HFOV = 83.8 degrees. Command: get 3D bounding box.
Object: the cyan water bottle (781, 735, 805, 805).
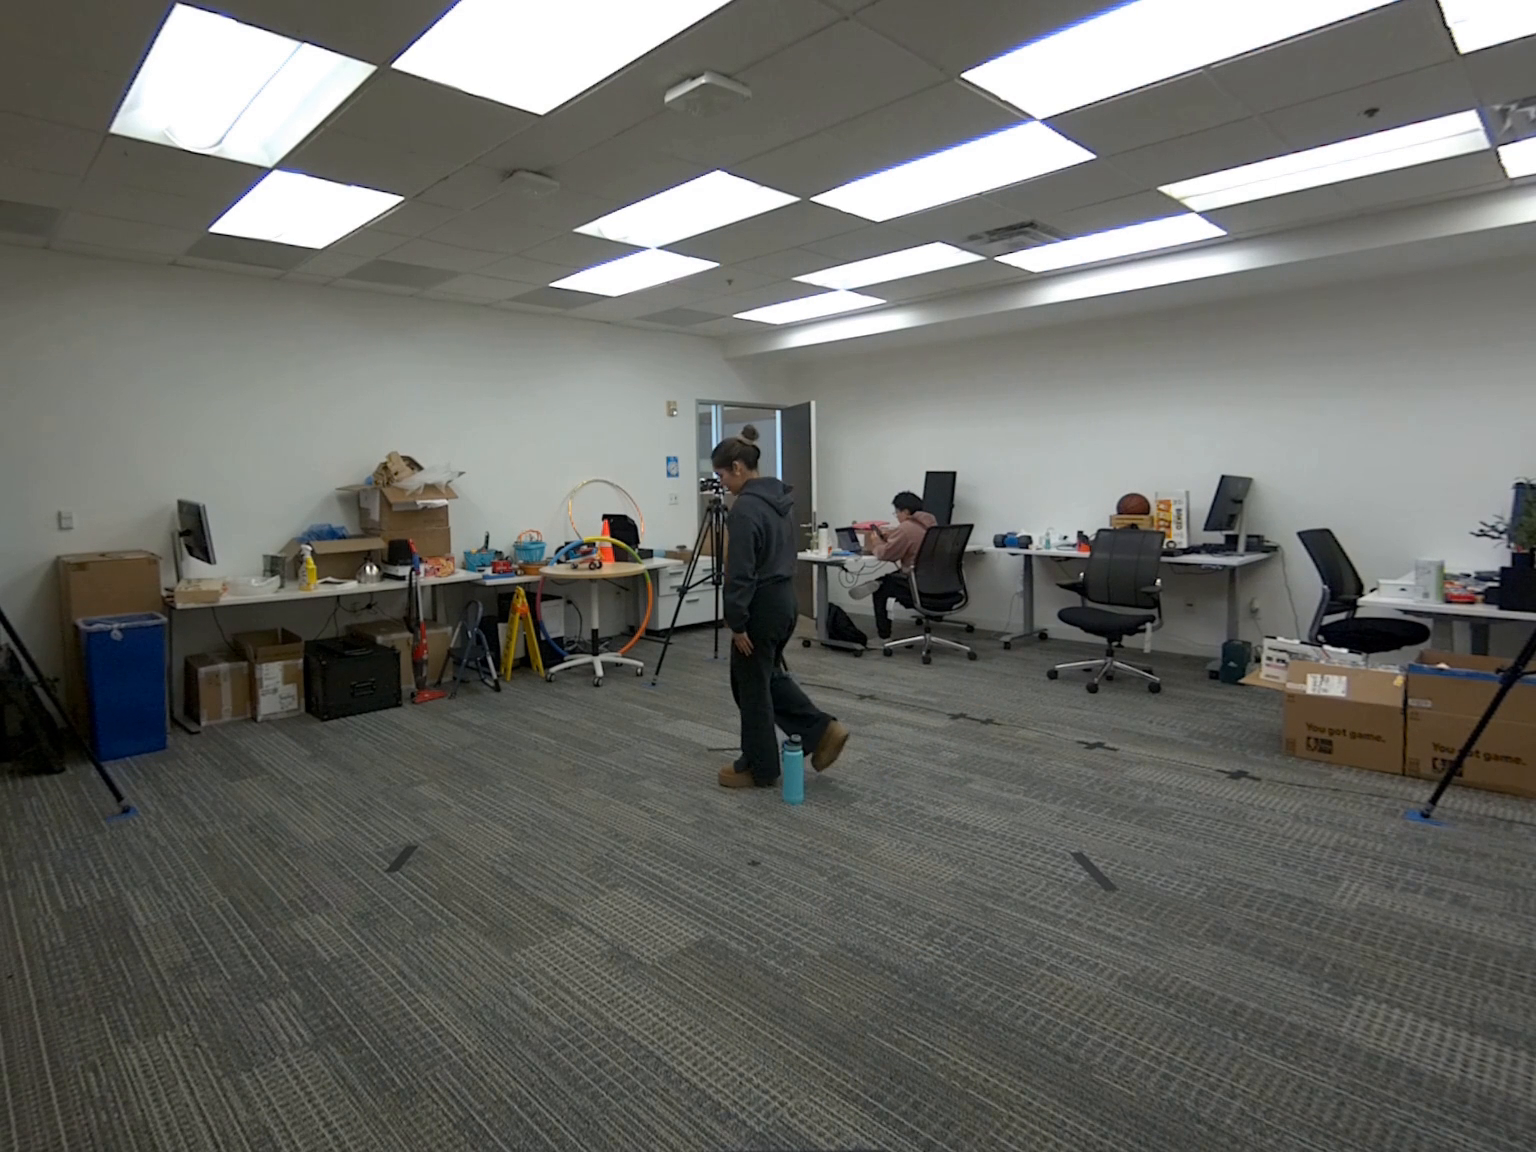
[{"bbox_3d":[0.103,0.842,3.690,0.092,0.283,0.092,-5,2,-1],"label":"cyan water bottle"}]
